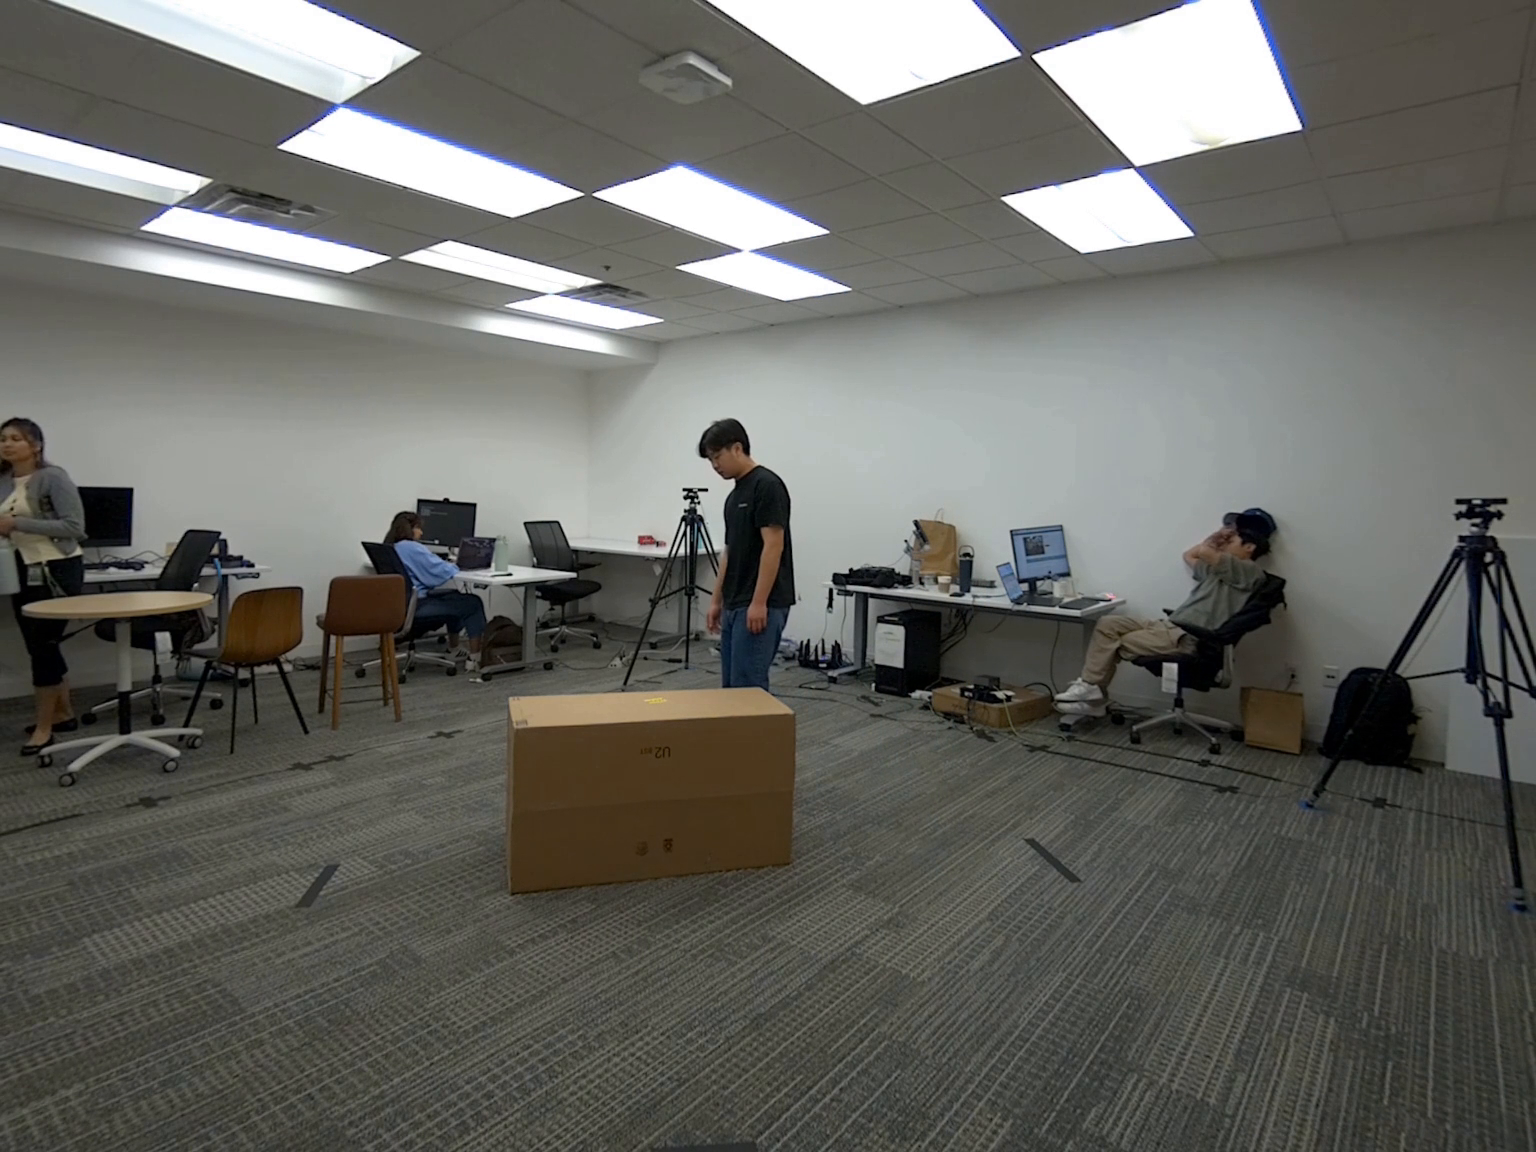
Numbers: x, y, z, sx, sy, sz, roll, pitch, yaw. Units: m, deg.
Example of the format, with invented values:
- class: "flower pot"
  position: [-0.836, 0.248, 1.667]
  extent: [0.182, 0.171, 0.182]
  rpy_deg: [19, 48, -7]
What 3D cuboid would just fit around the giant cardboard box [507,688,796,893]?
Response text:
- class: "giant cardboard box"
  position: [-0.464, 0.767, 3.209]
  extent: [1.008, 0.583, 0.456]
  rpy_deg: [0, 3, -18]
